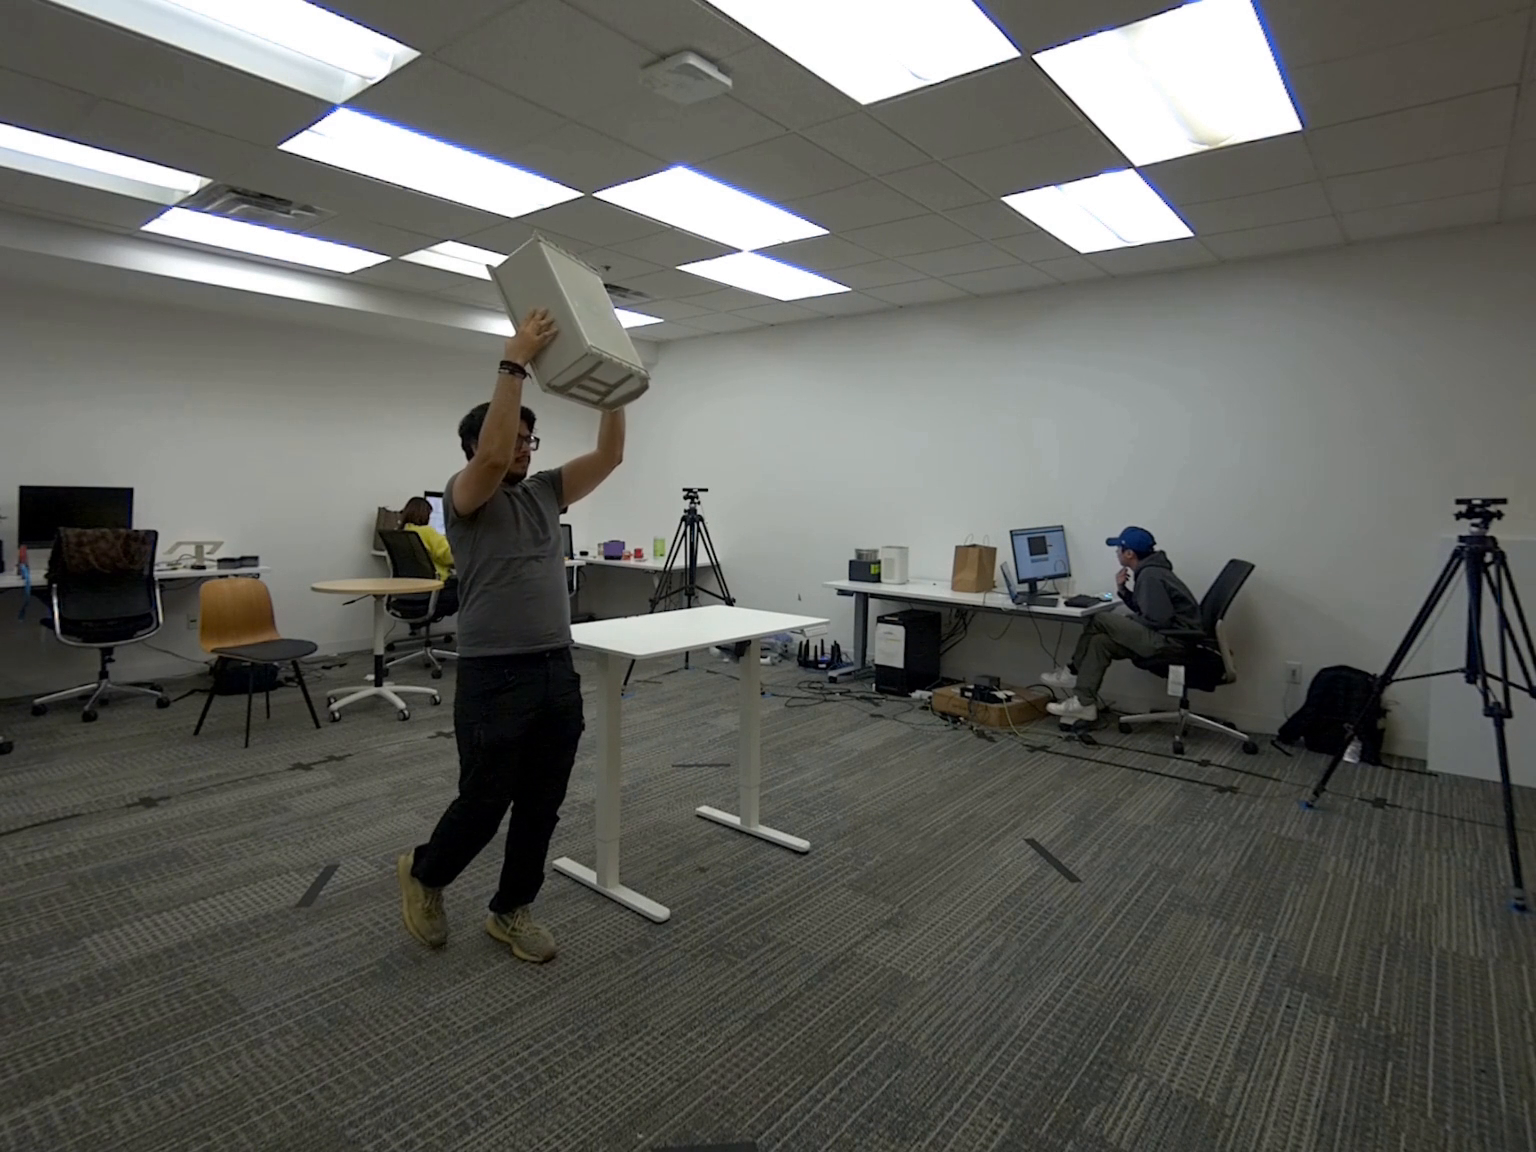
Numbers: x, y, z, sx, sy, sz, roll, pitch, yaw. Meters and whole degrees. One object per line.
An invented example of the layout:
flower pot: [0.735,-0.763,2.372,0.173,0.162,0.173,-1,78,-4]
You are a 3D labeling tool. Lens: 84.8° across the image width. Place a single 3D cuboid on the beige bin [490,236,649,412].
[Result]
beige bin: [-0.567,-0.716,2.456,0.190,0.430,0.368,-30,-13,18]
